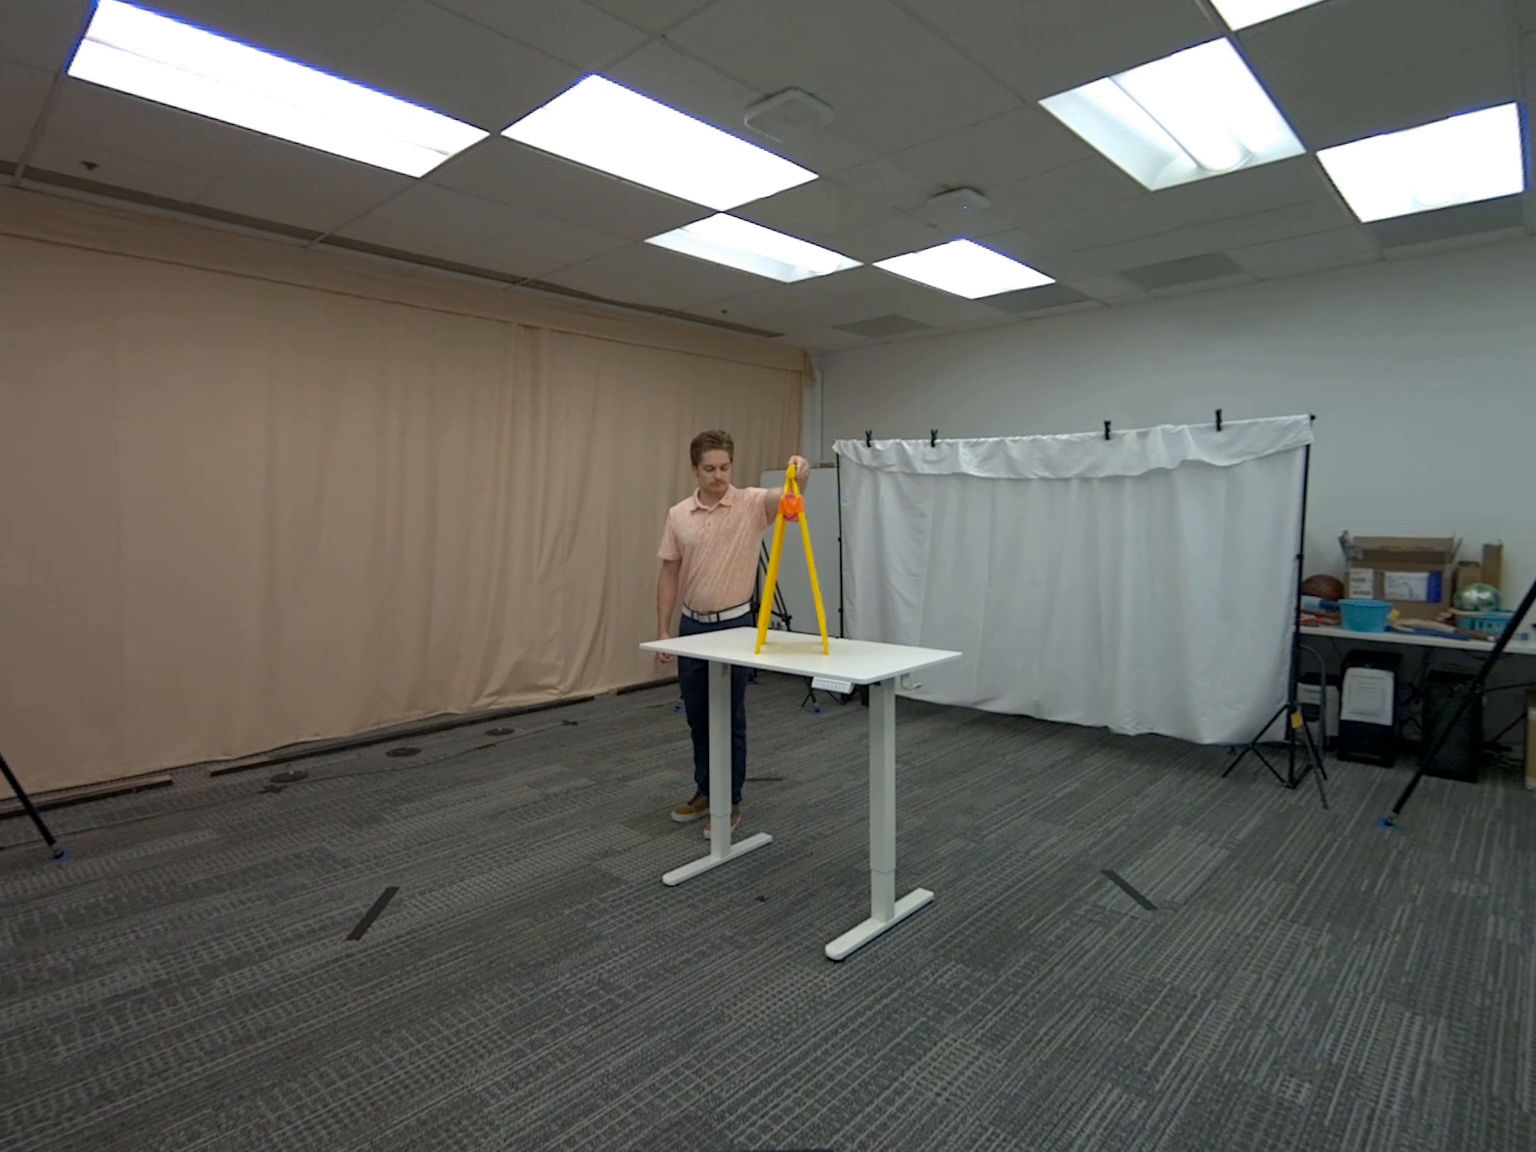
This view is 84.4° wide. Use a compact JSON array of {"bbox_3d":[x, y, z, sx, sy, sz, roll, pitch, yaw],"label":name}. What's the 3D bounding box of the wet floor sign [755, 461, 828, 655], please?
[{"bbox_3d":[0.089,-0.065,3.002,0.291,0.645,0.281,-1,3,4],"label":"wet floor sign"}]
